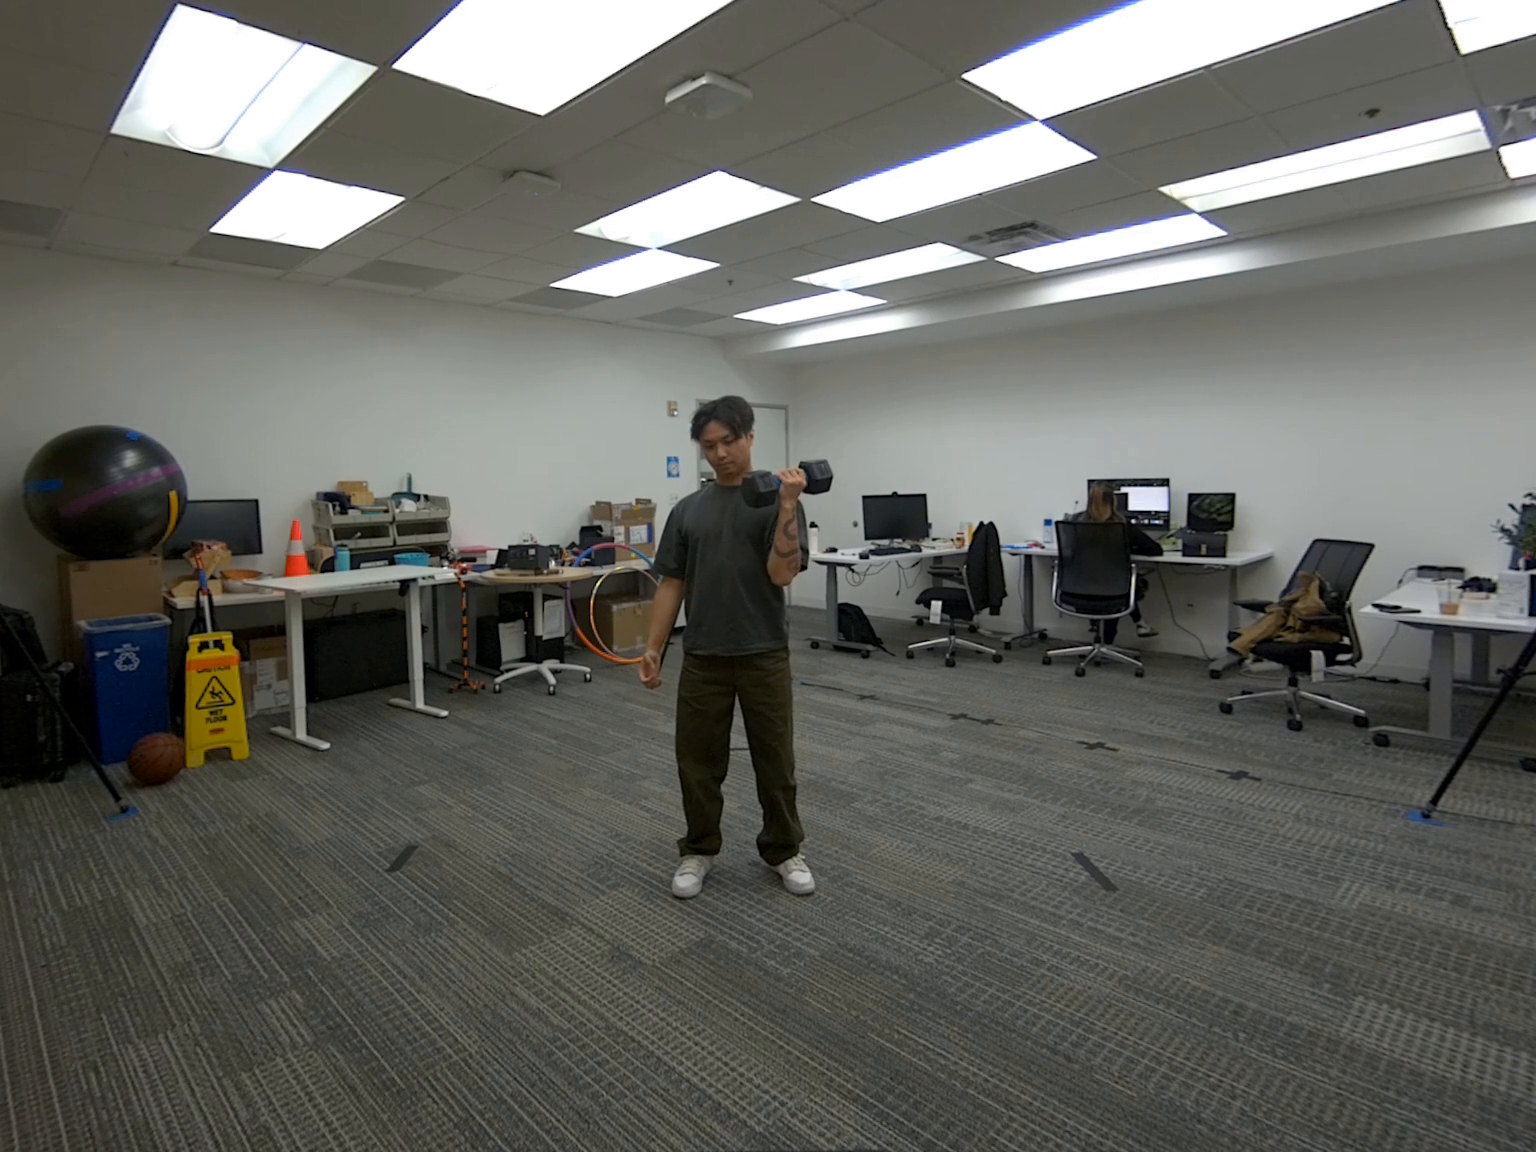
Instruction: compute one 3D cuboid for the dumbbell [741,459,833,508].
[{"bbox_3d":[0.070,-0.298,2.696,0.288,0.107,0.127,-16,19,-27],"label":"dumbbell"}]
